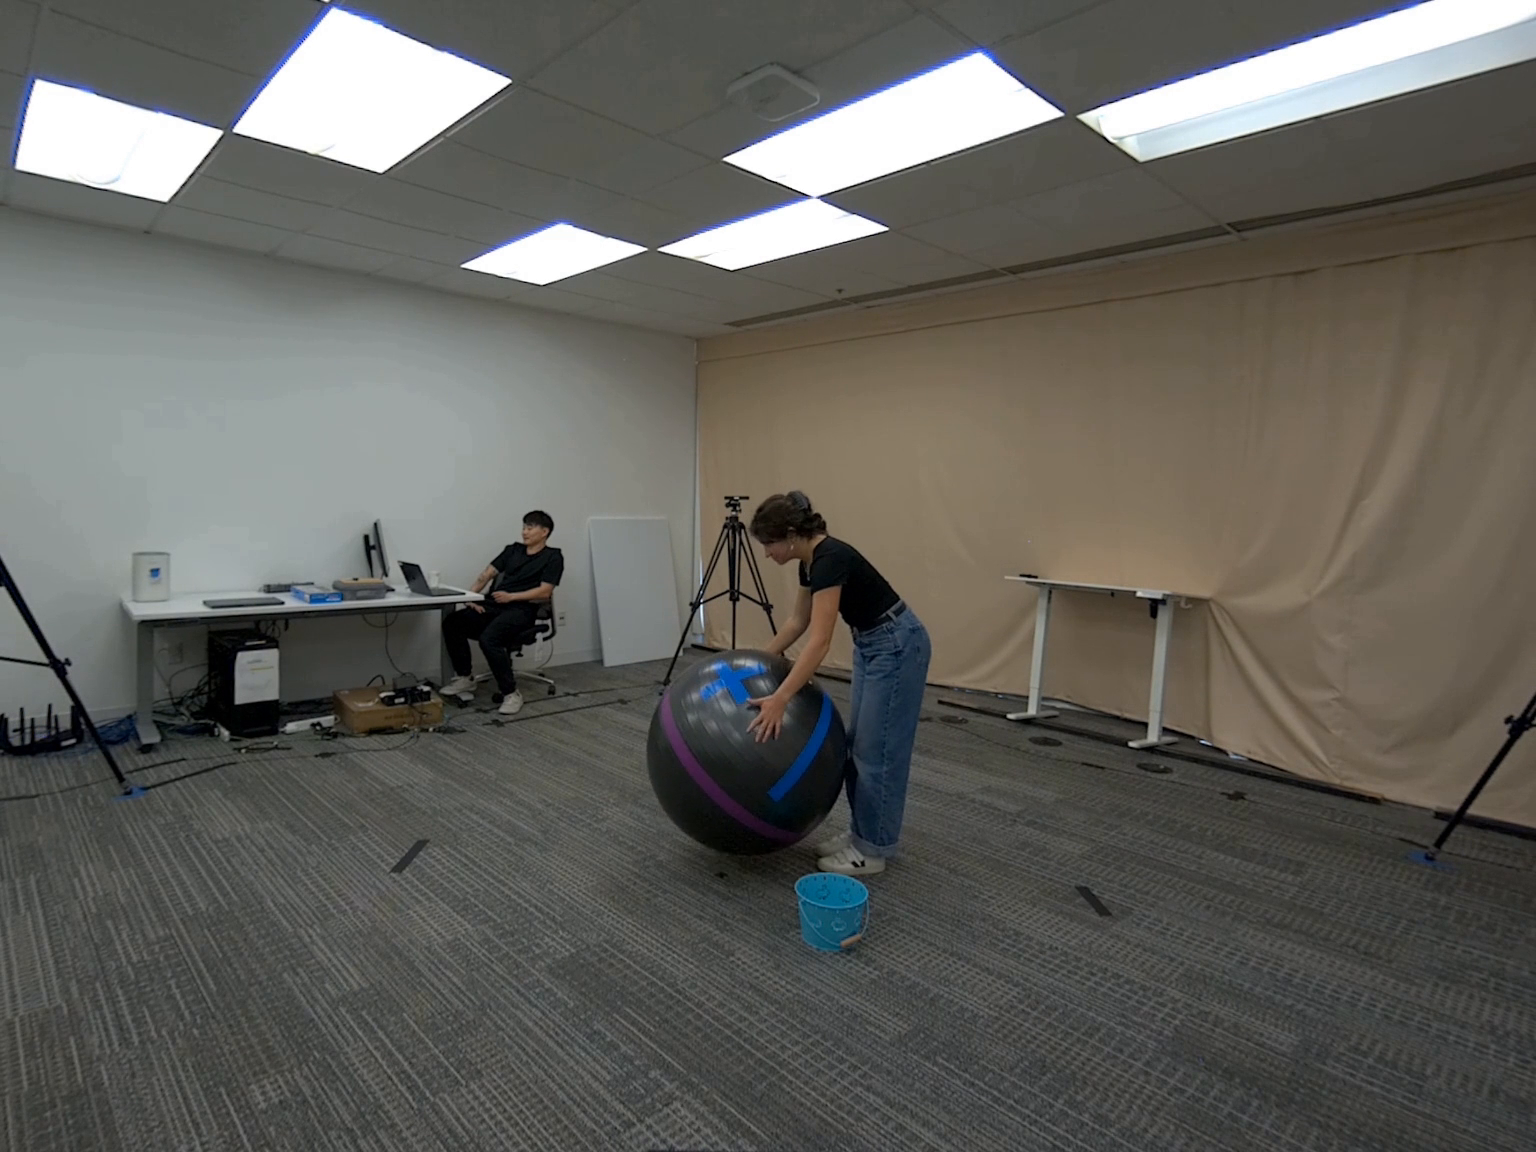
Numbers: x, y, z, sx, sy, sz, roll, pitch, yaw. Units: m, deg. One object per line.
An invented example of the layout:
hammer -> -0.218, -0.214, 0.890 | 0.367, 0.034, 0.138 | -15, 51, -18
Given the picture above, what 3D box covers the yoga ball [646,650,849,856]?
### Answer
yoga ball -> -0.099, 0.683, 3.201 | 0.757, 0.756, 0.761 | 1, 4, -1
